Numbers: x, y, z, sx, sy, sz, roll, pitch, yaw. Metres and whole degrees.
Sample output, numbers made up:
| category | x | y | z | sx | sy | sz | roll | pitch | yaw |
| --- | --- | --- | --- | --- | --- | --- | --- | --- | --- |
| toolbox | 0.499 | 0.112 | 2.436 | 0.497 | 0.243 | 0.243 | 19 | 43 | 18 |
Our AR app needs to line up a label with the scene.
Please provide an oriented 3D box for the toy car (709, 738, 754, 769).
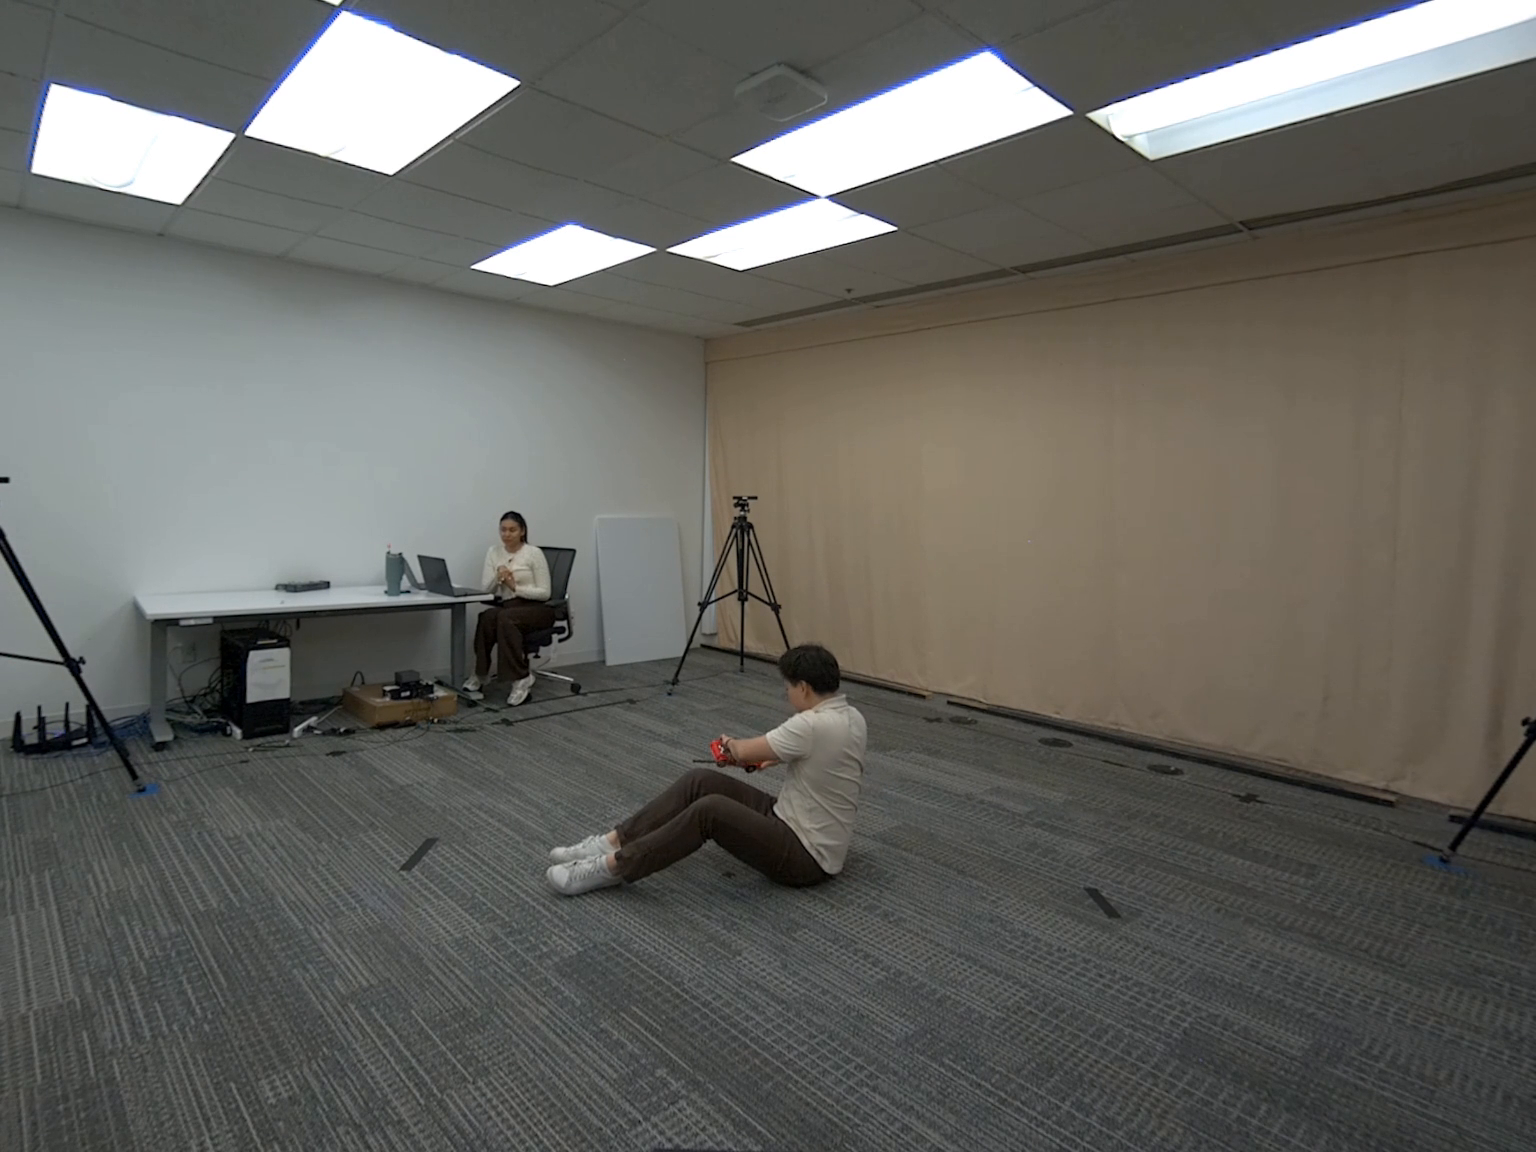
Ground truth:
| category | x | y | z | sx | sy | sz | roll | pitch | yaw |
| --- | --- | --- | --- | --- | --- | --- | --- | --- | --- |
| toy car | -0.125 | 0.744 | 3.459 | 0.249 | 0.082 | 0.134 | 8 | 31 | -27 |
